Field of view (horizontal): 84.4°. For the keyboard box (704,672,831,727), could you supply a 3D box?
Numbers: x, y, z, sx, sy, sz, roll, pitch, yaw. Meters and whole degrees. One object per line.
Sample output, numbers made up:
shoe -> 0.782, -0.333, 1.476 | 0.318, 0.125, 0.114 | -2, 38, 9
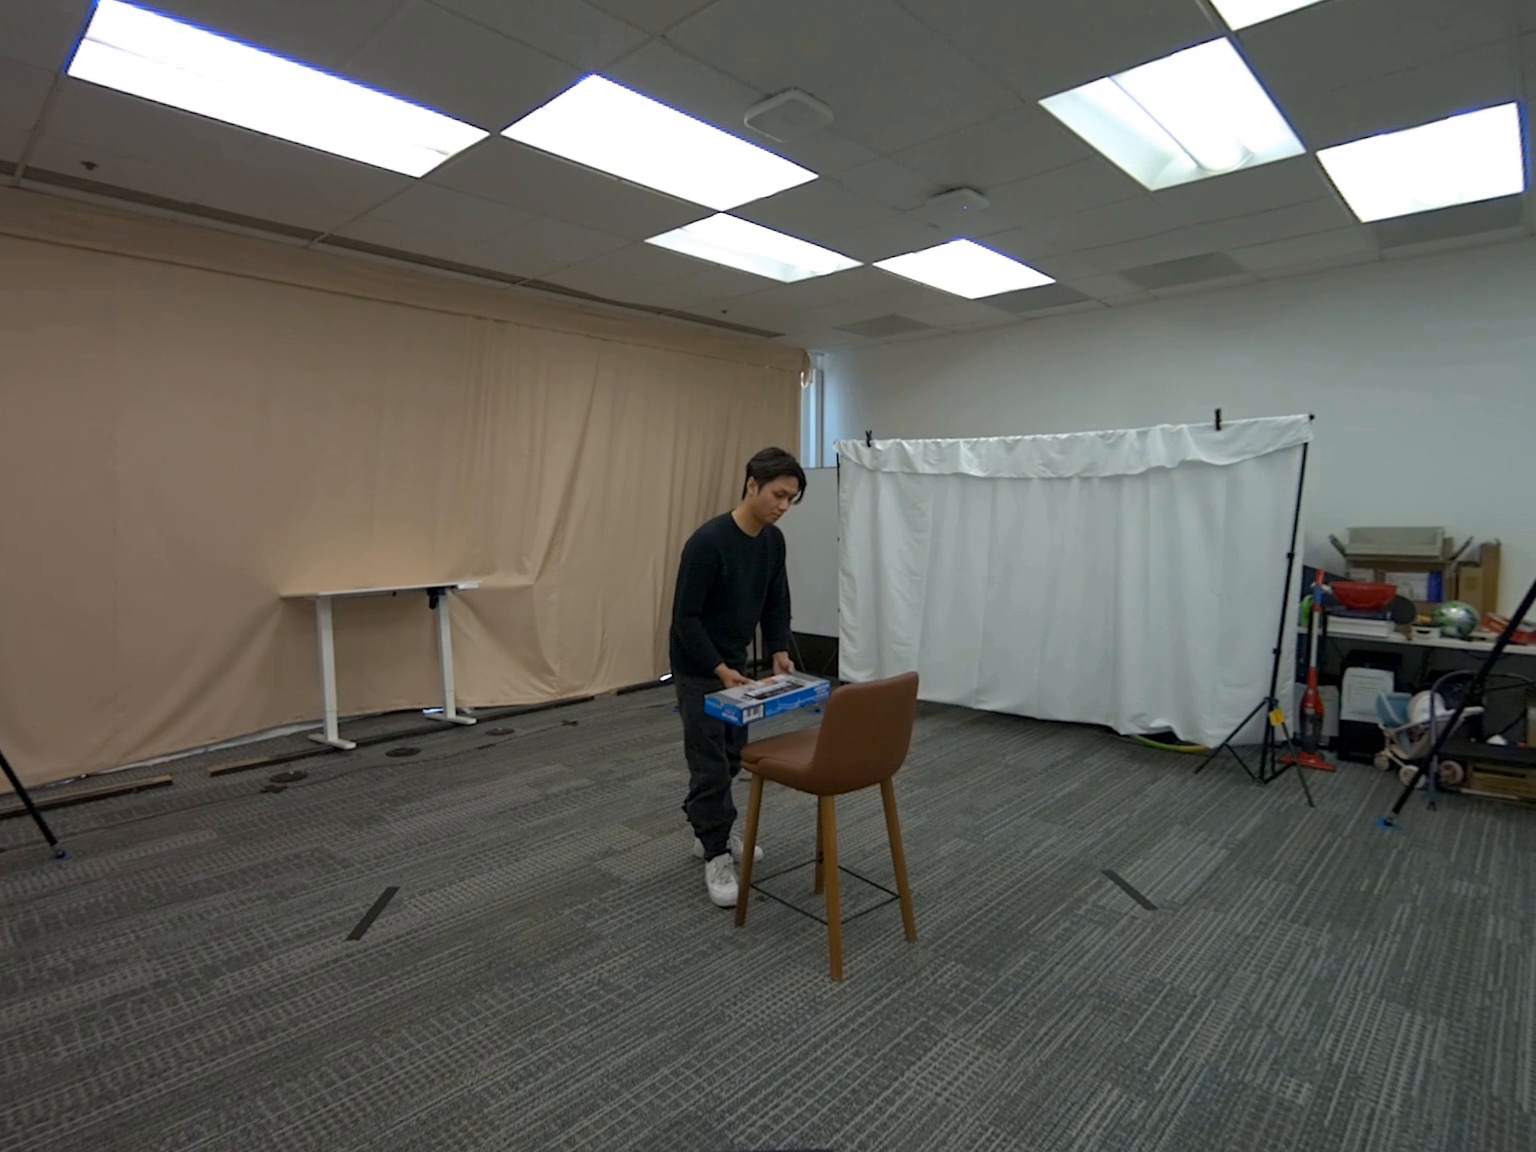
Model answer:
keyboard box -> 0.004, 0.403, 2.848 | 0.424, 0.059, 0.182 | -9, 14, -43
